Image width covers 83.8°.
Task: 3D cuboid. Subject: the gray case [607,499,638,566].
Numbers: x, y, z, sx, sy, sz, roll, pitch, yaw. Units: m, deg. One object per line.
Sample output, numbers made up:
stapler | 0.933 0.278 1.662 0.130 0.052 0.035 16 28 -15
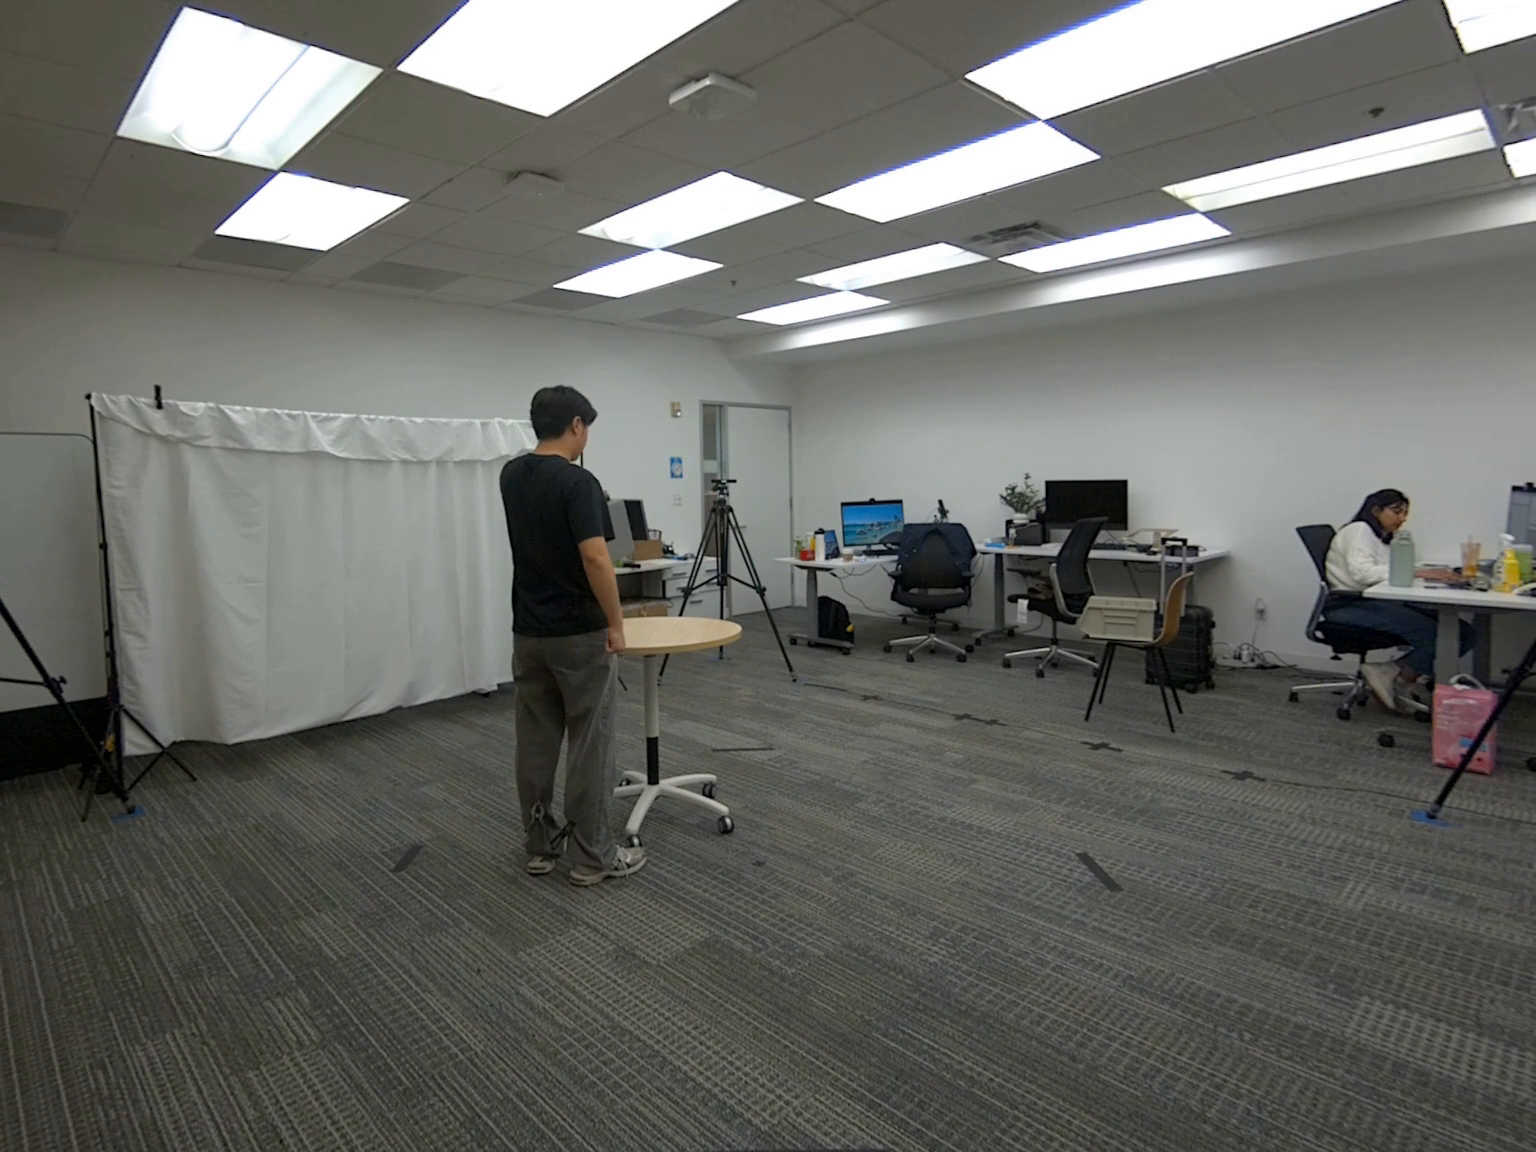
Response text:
gray case | -0.683 -0.174 3.548 0.106 0.282 0.260 1 19 34
